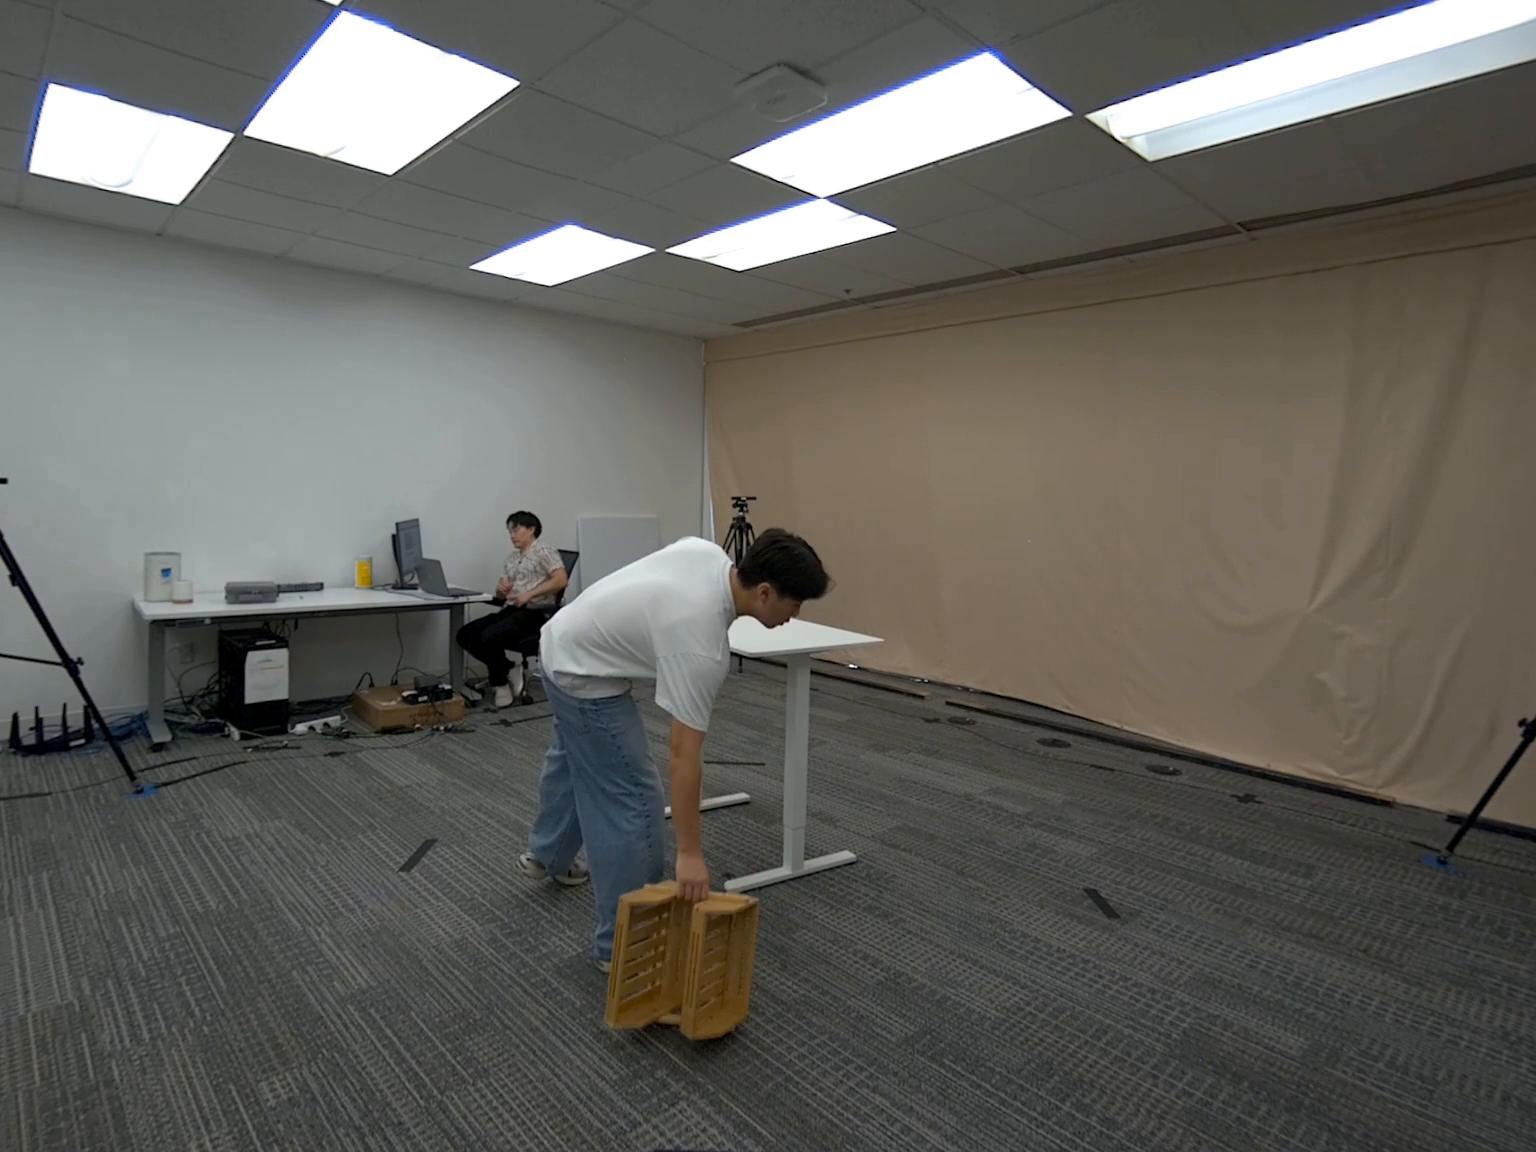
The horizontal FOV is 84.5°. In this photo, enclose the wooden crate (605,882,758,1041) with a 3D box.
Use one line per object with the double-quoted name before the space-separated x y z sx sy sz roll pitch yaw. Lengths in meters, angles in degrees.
"wooden crate" -0.215 0.978 2.156 0.279 0.326 0.295 2 -6 26
